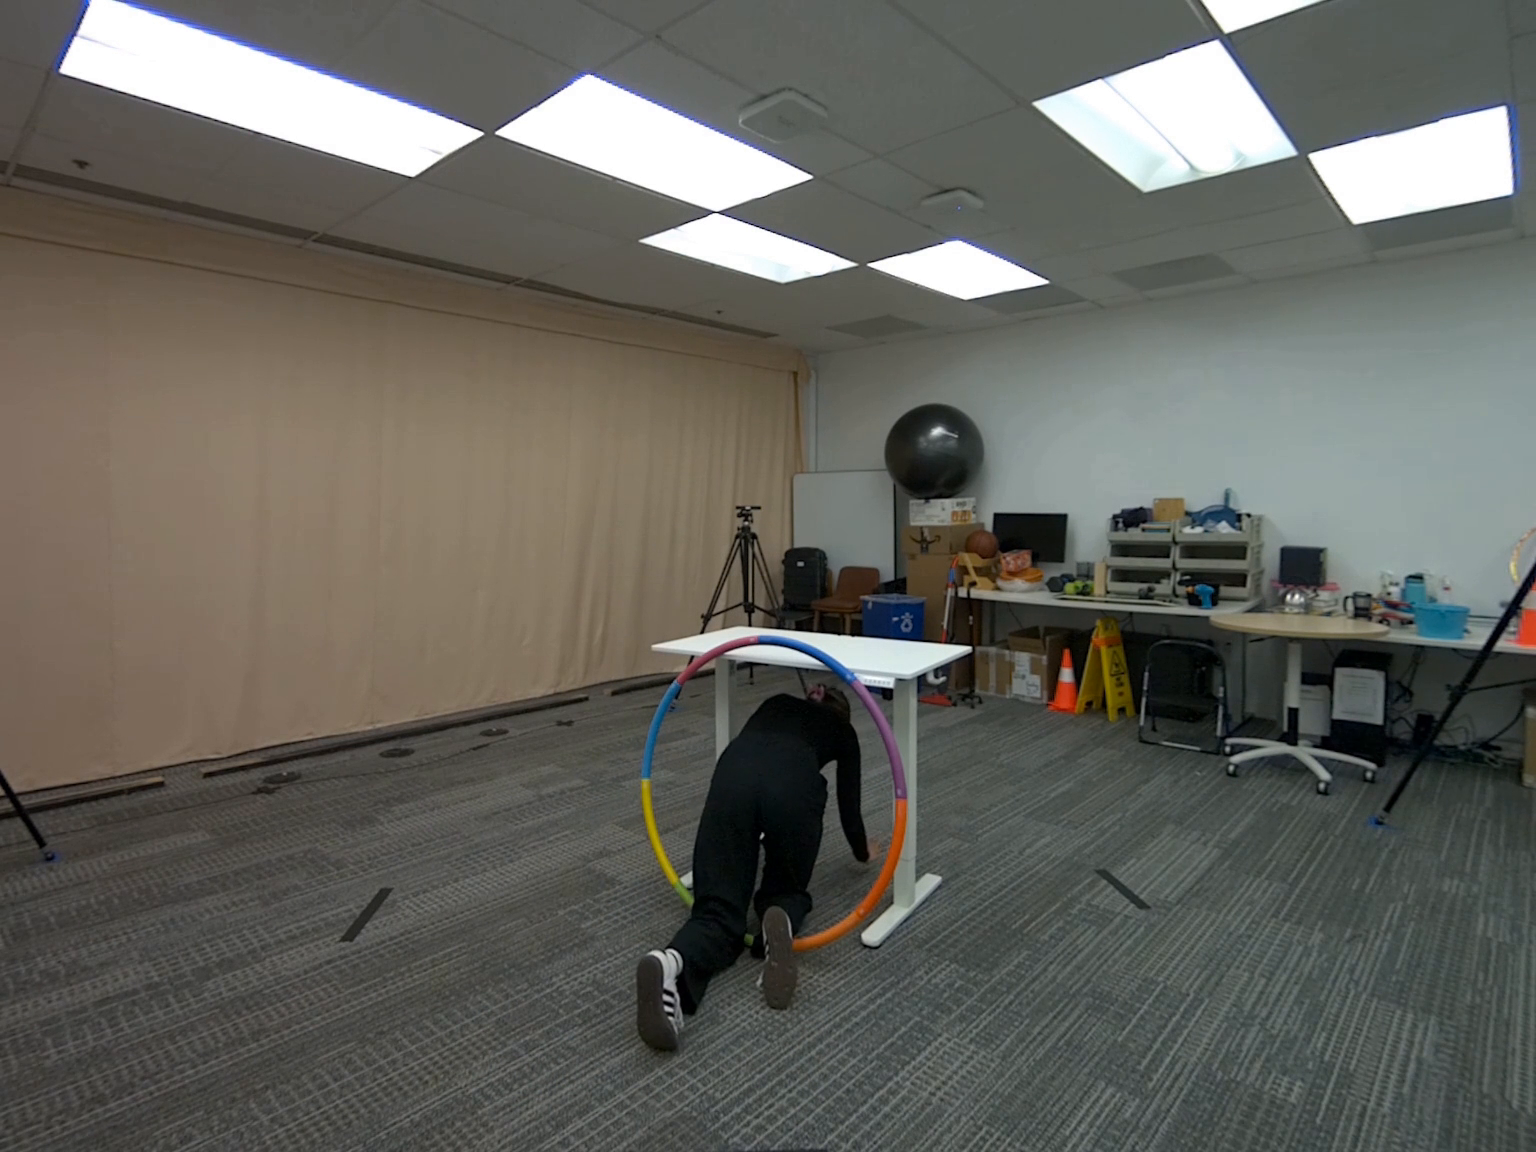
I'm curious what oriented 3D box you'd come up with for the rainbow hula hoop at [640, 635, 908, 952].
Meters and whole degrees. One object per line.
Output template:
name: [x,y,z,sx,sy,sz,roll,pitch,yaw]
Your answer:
rainbow hula hoop: [-0.020,0.684,2.730,1.009,0.982,0.034,2,-7,34]
